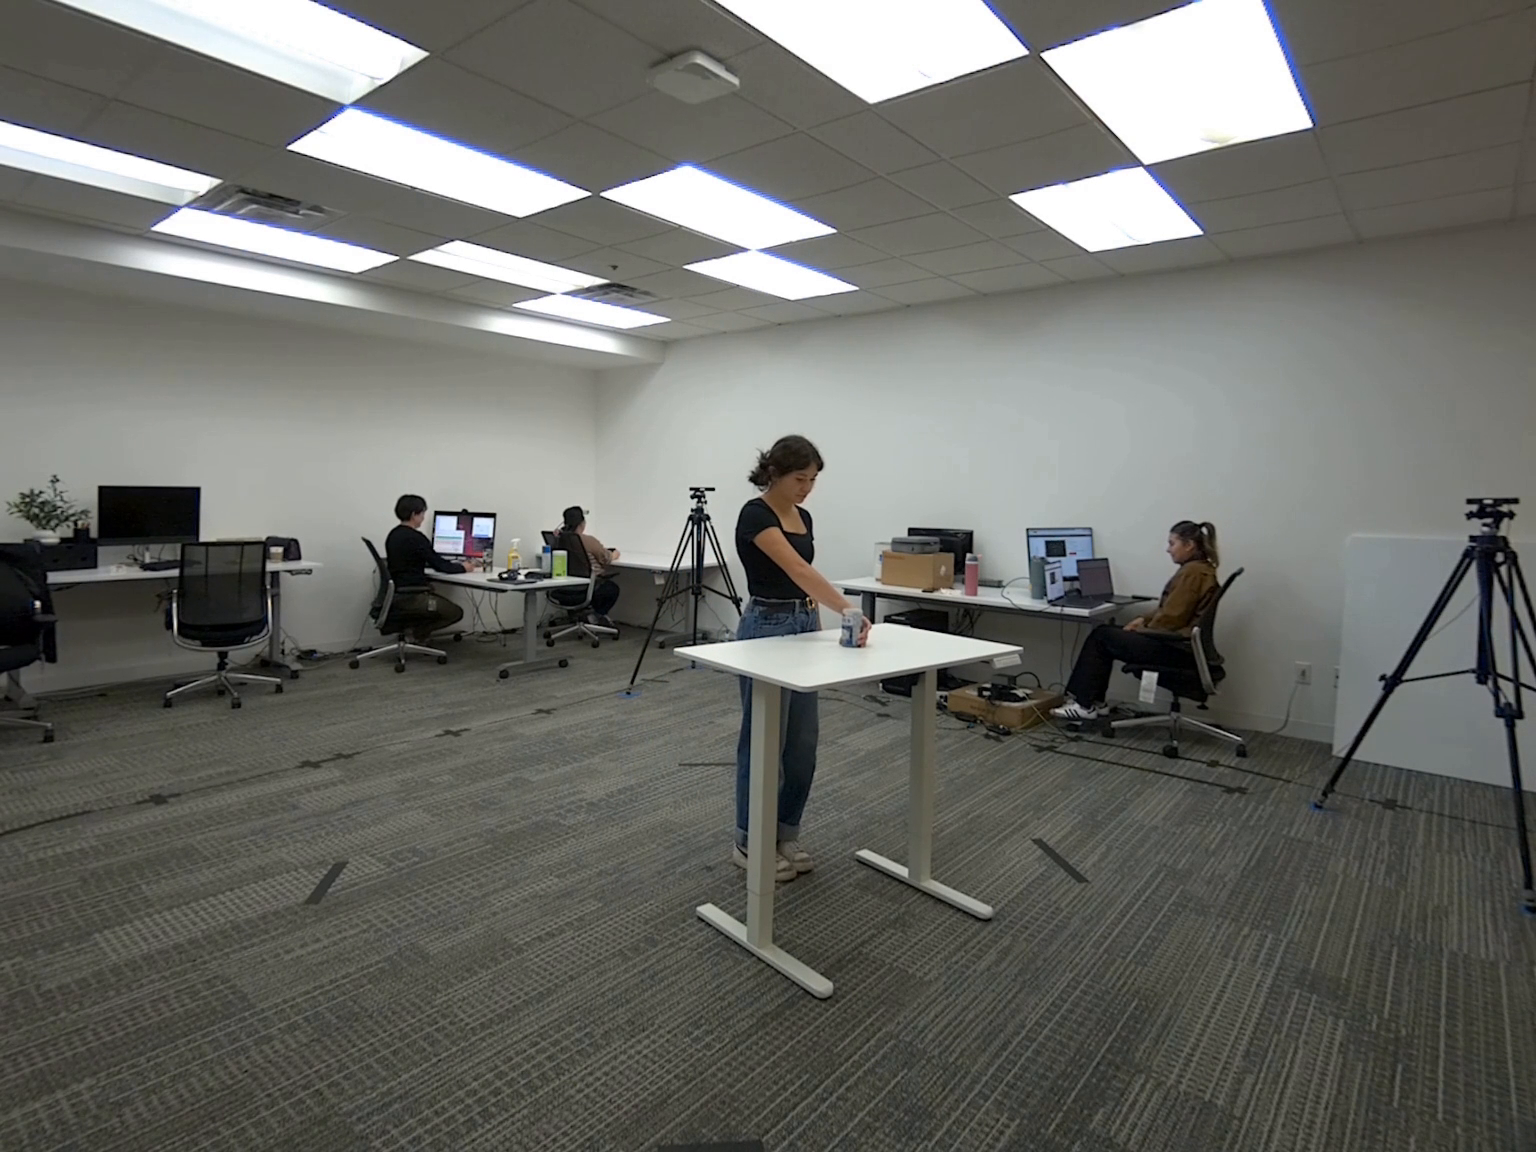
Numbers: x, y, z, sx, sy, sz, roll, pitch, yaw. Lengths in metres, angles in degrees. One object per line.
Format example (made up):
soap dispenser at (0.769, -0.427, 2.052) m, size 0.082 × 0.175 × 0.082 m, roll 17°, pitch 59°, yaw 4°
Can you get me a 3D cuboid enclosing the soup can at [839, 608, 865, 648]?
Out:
soup can at (0.265, 0.162, 2.794) m, size 0.067 × 0.121 × 0.067 m, roll -3°, pitch 4°, yaw -2°
